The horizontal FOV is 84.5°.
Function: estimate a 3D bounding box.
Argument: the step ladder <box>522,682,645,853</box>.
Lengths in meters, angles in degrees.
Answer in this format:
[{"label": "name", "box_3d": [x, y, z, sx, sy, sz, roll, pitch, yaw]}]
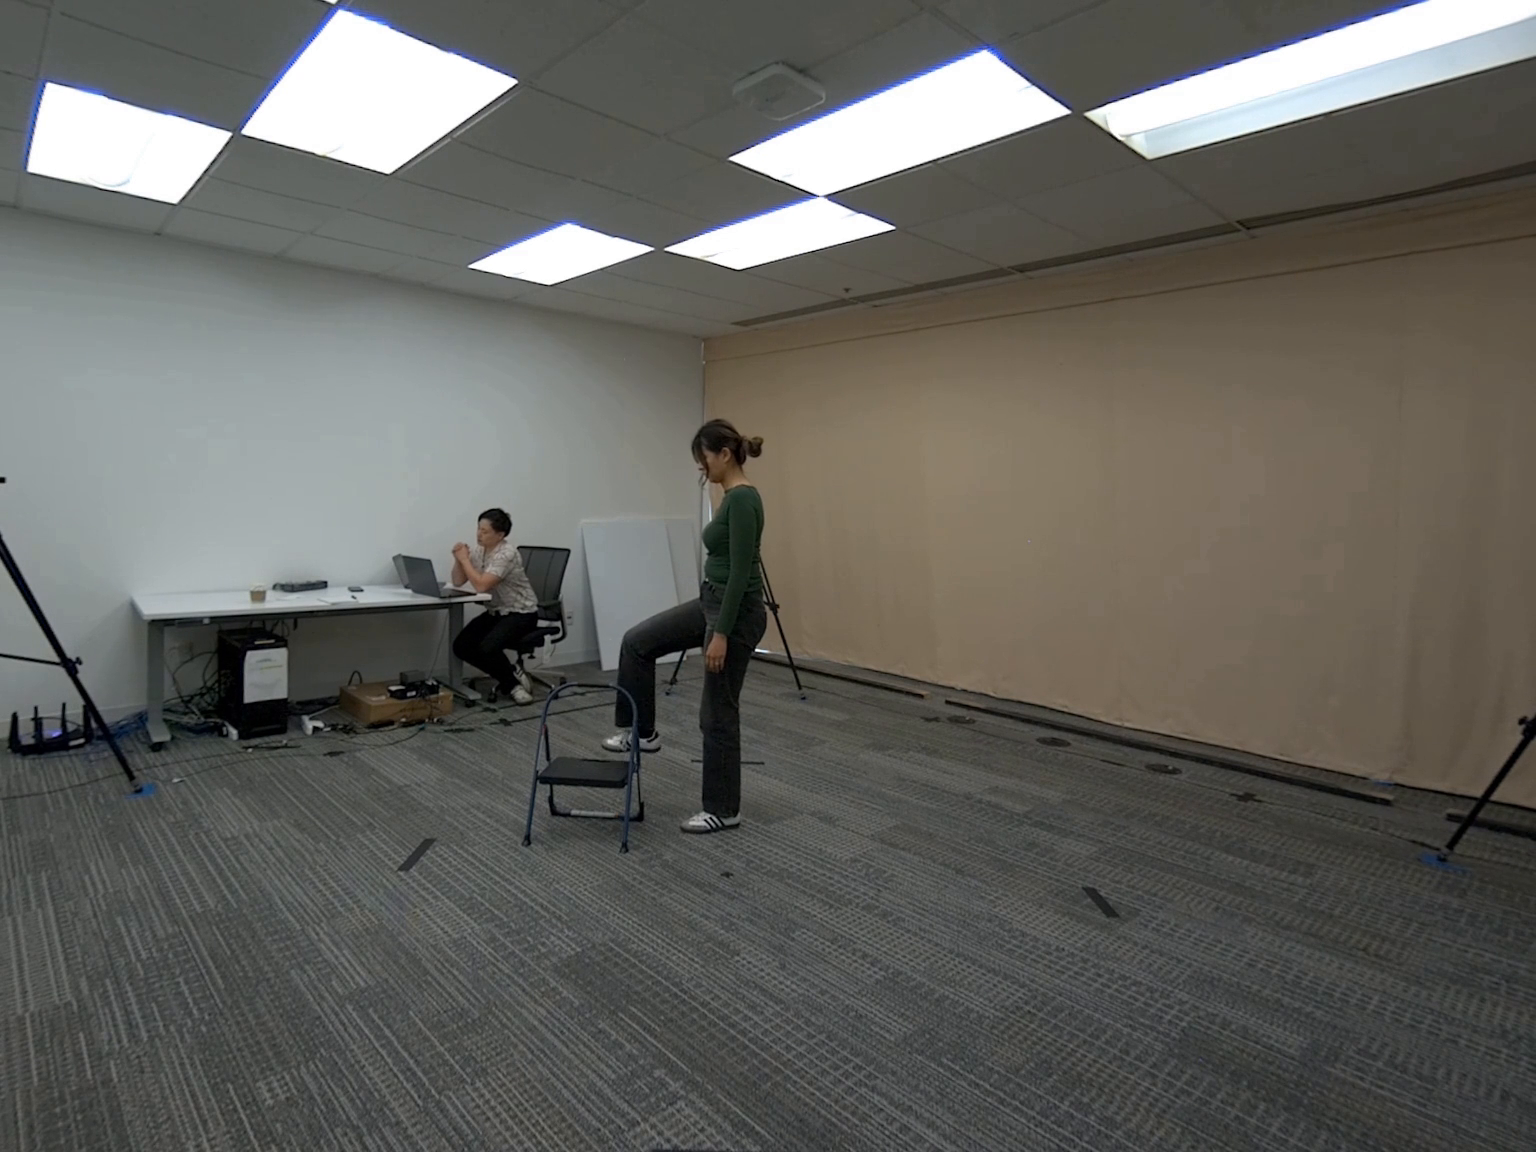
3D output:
[{"label": "step ladder", "box_3d": [-0.749, 0.757, 3.447, 0.433, 0.604, 0.349, 2, 4, 5]}]
